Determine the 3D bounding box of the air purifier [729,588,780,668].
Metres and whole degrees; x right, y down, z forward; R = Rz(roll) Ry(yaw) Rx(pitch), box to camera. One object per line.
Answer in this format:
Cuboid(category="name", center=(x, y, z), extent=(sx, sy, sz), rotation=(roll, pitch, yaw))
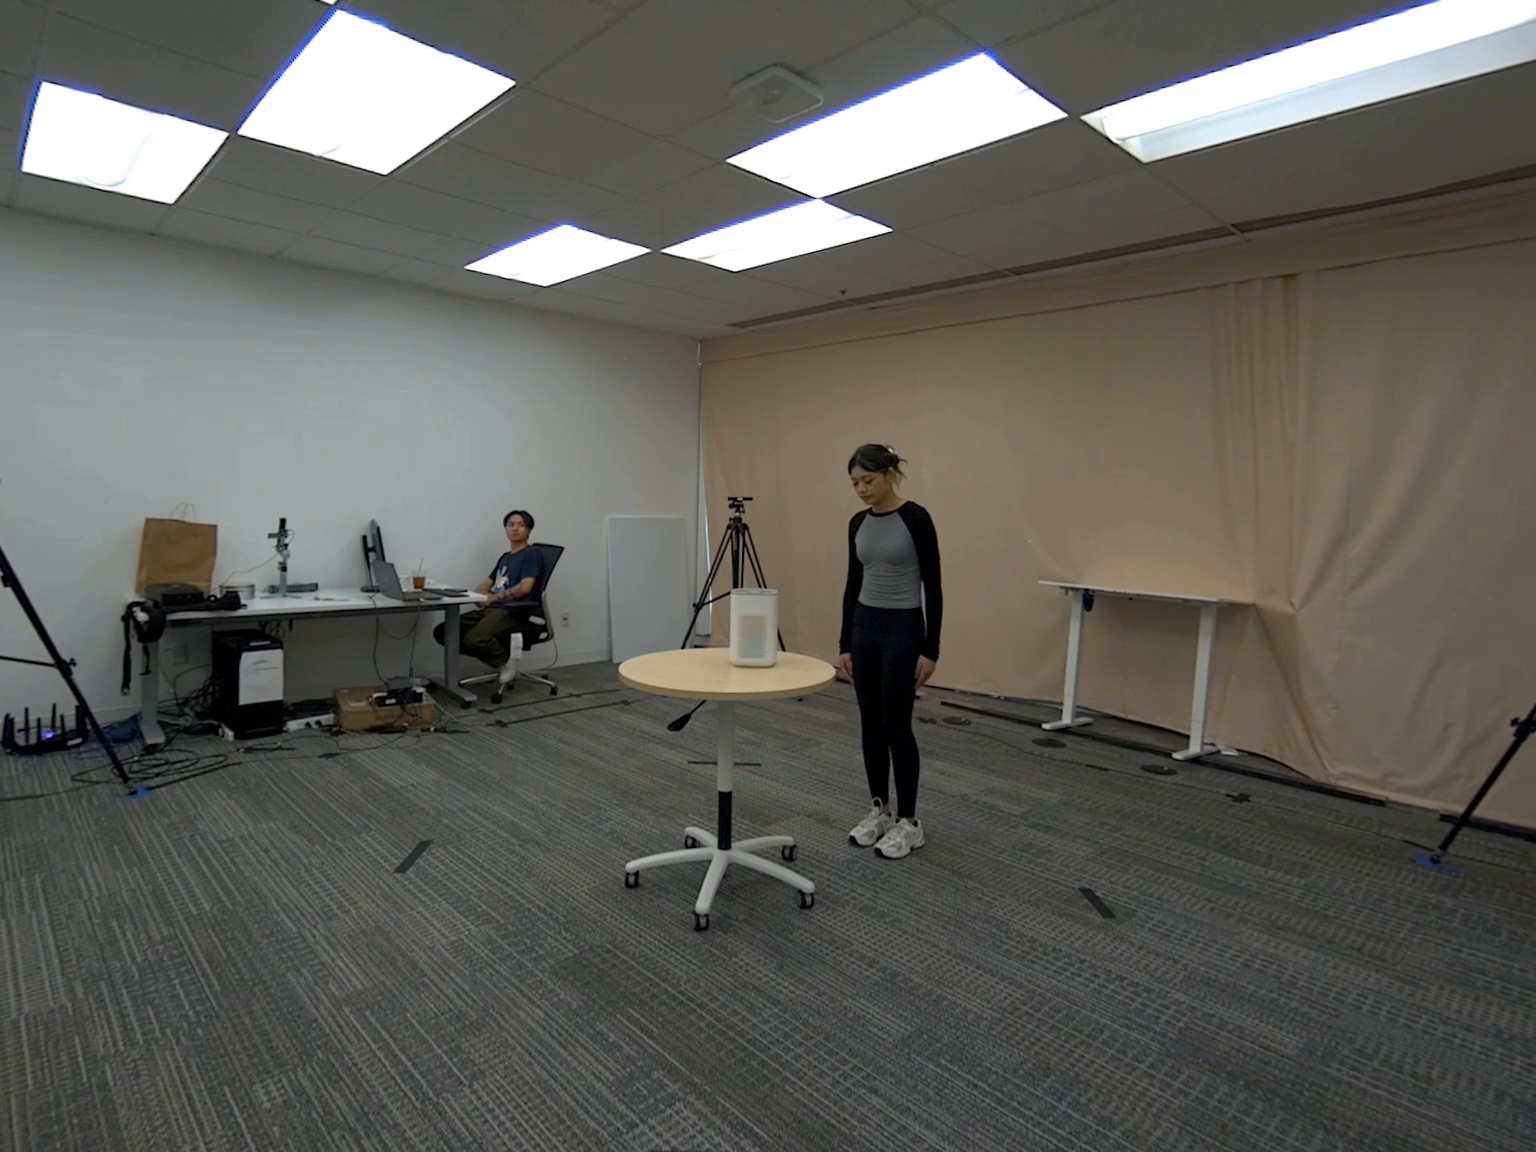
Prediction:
Cuboid(category="air purifier", center=(-0.060, 0.186, 3.044), extent=(0.172, 0.265, 0.171), rotation=(3, 4, 3))
